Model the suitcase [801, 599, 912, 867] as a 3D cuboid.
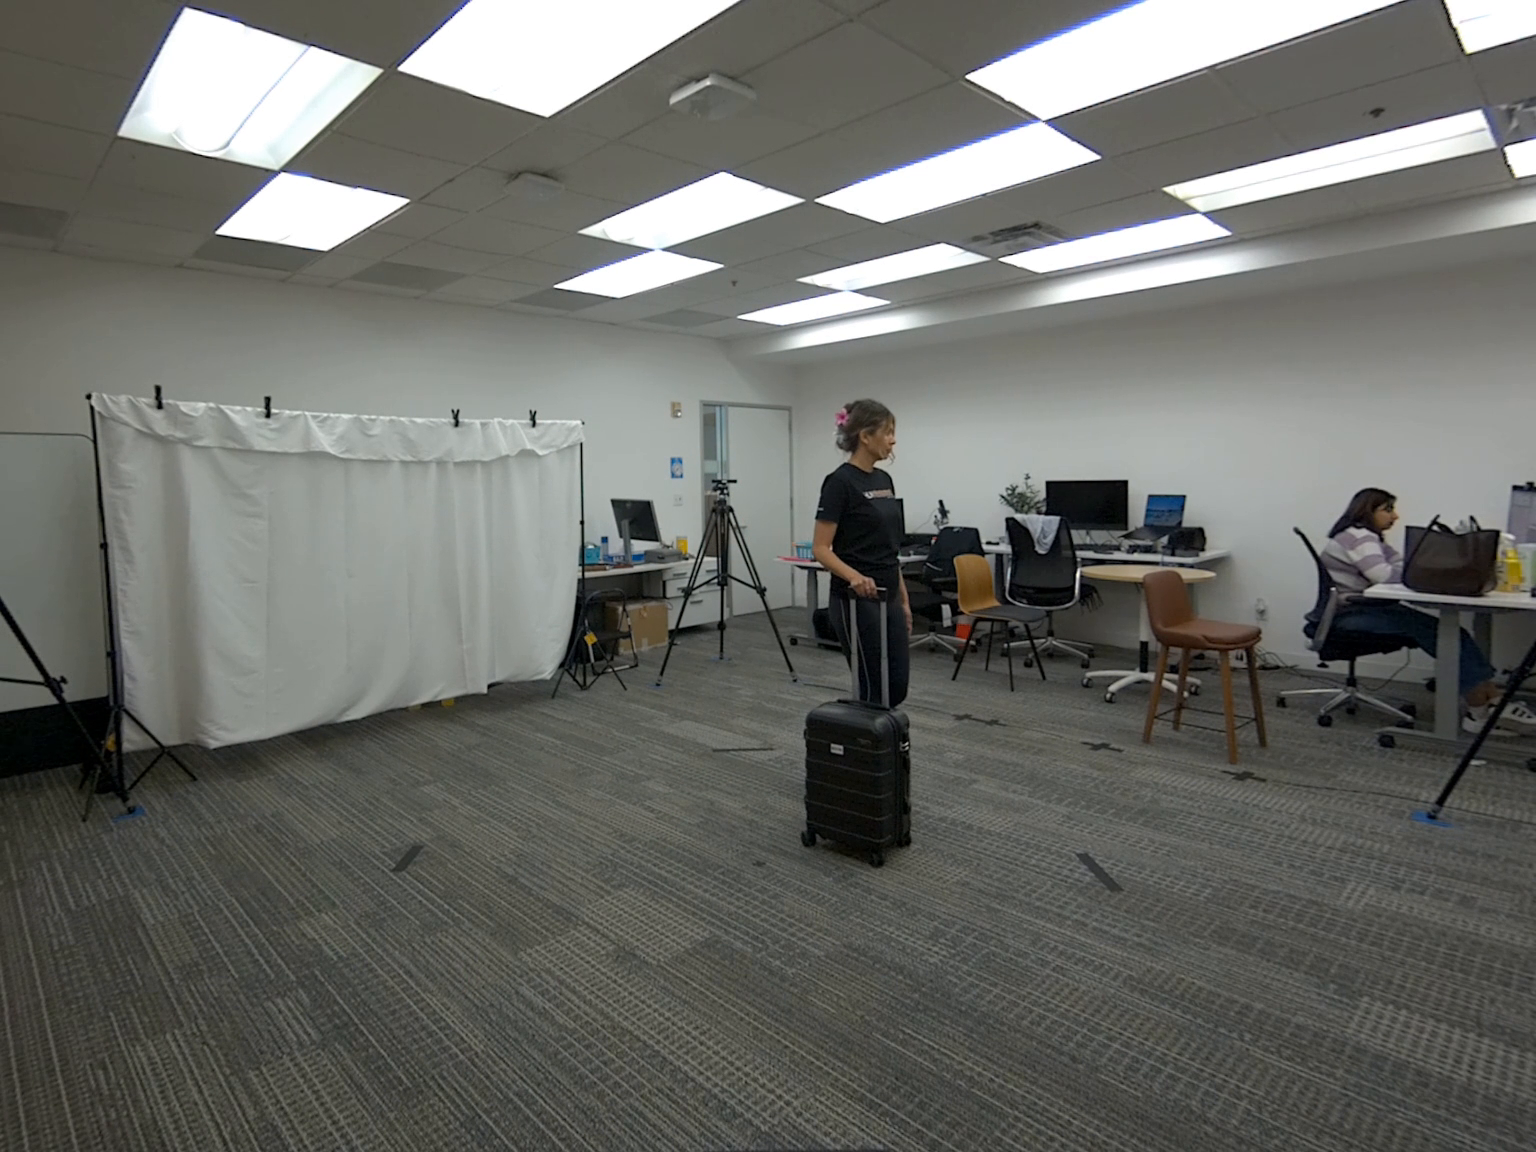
[{"bbox_3d":[0.334,0.555,3.195,0.396,0.973,0.251,5,8,38],"label":"suitcase"}]
